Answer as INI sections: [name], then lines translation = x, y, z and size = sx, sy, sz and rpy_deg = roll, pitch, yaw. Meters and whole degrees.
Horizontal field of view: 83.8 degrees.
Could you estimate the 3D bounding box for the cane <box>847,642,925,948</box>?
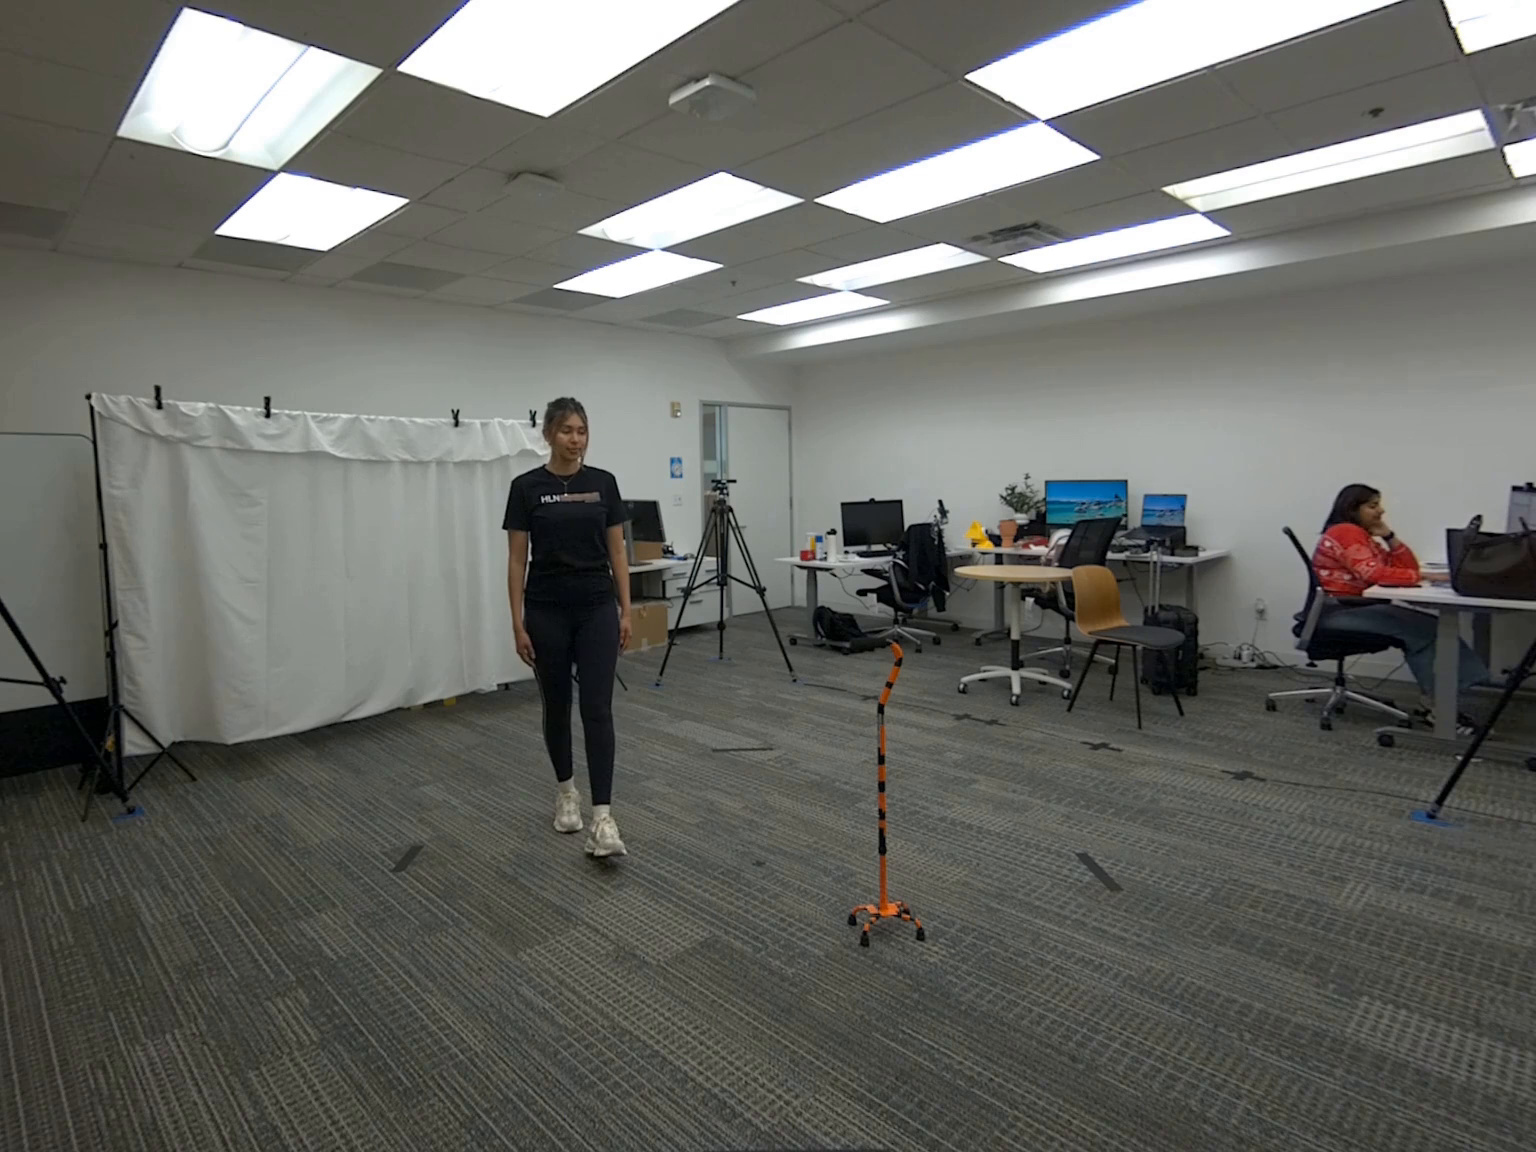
[cane]
translation = 0.360, 0.641, 2.599
size = 0.204, 0.905, 0.154
rpy_deg = -2, 3, -12
